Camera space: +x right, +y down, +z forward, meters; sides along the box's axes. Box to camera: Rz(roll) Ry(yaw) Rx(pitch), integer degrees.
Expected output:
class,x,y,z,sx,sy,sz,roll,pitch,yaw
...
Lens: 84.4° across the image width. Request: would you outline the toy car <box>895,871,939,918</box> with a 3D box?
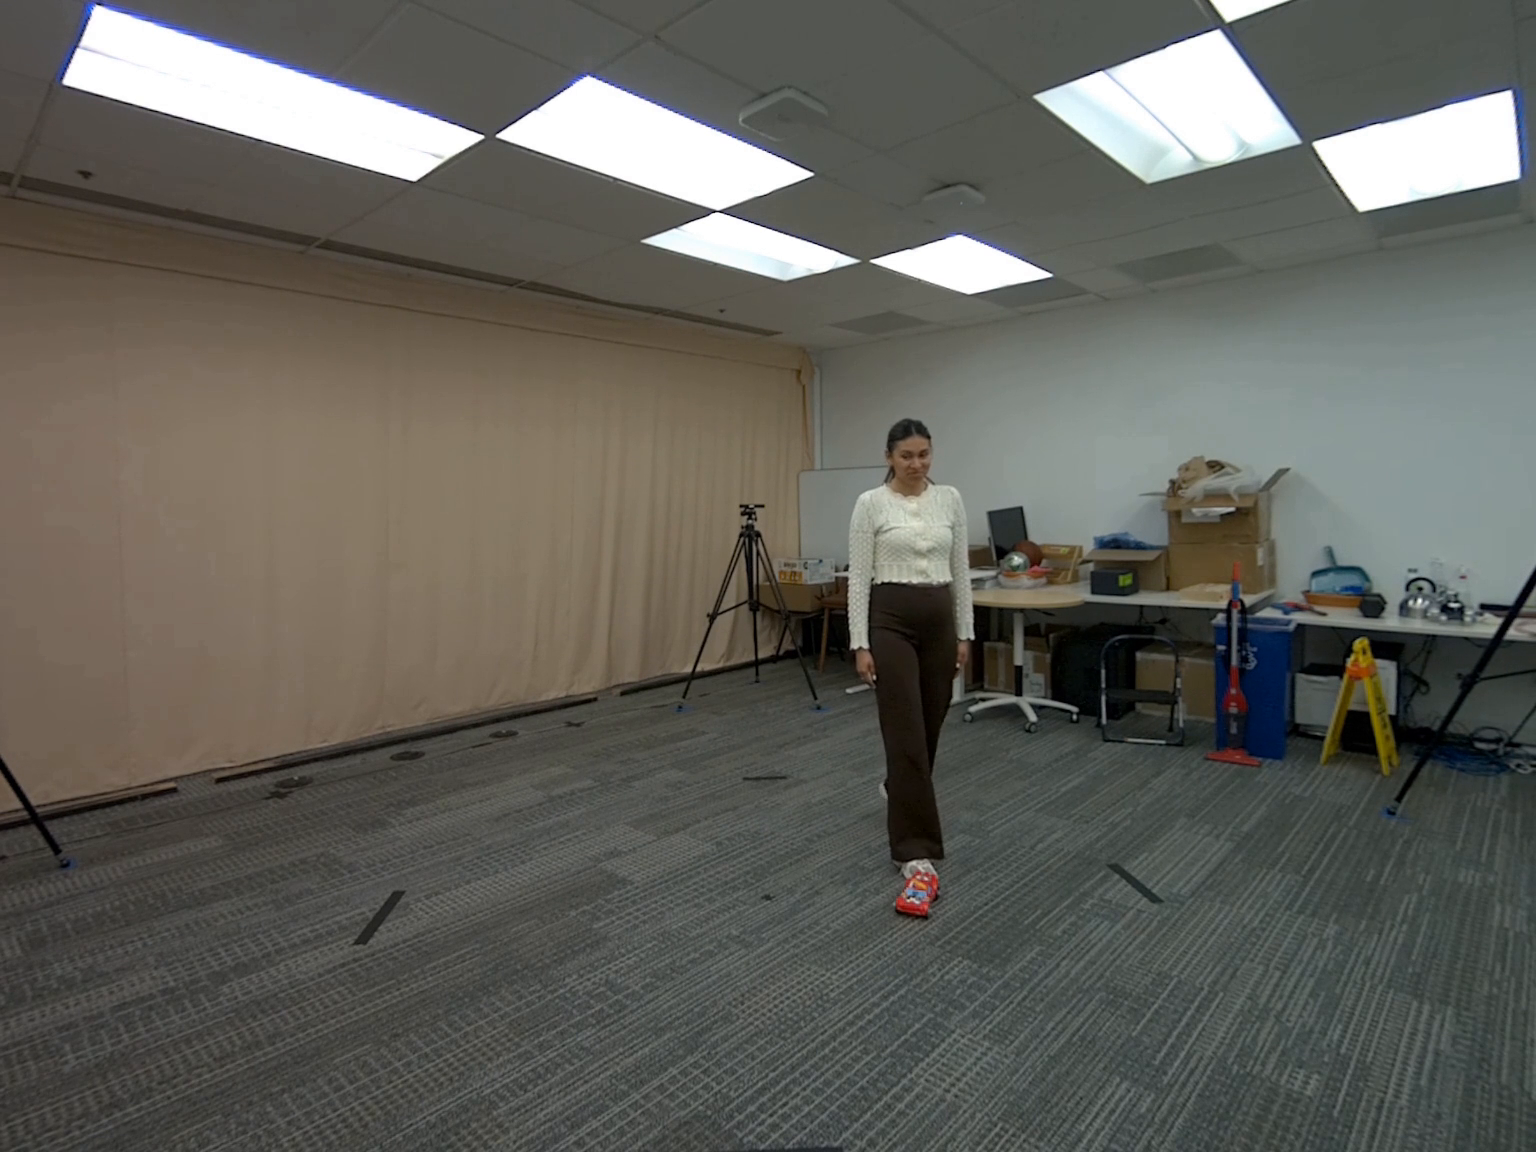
class,x,y,z,sx,sy,sz,roll,pitch,yaw
toy car,0.526,1.102,2.918,0.134,0.082,0.250,1,16,25
